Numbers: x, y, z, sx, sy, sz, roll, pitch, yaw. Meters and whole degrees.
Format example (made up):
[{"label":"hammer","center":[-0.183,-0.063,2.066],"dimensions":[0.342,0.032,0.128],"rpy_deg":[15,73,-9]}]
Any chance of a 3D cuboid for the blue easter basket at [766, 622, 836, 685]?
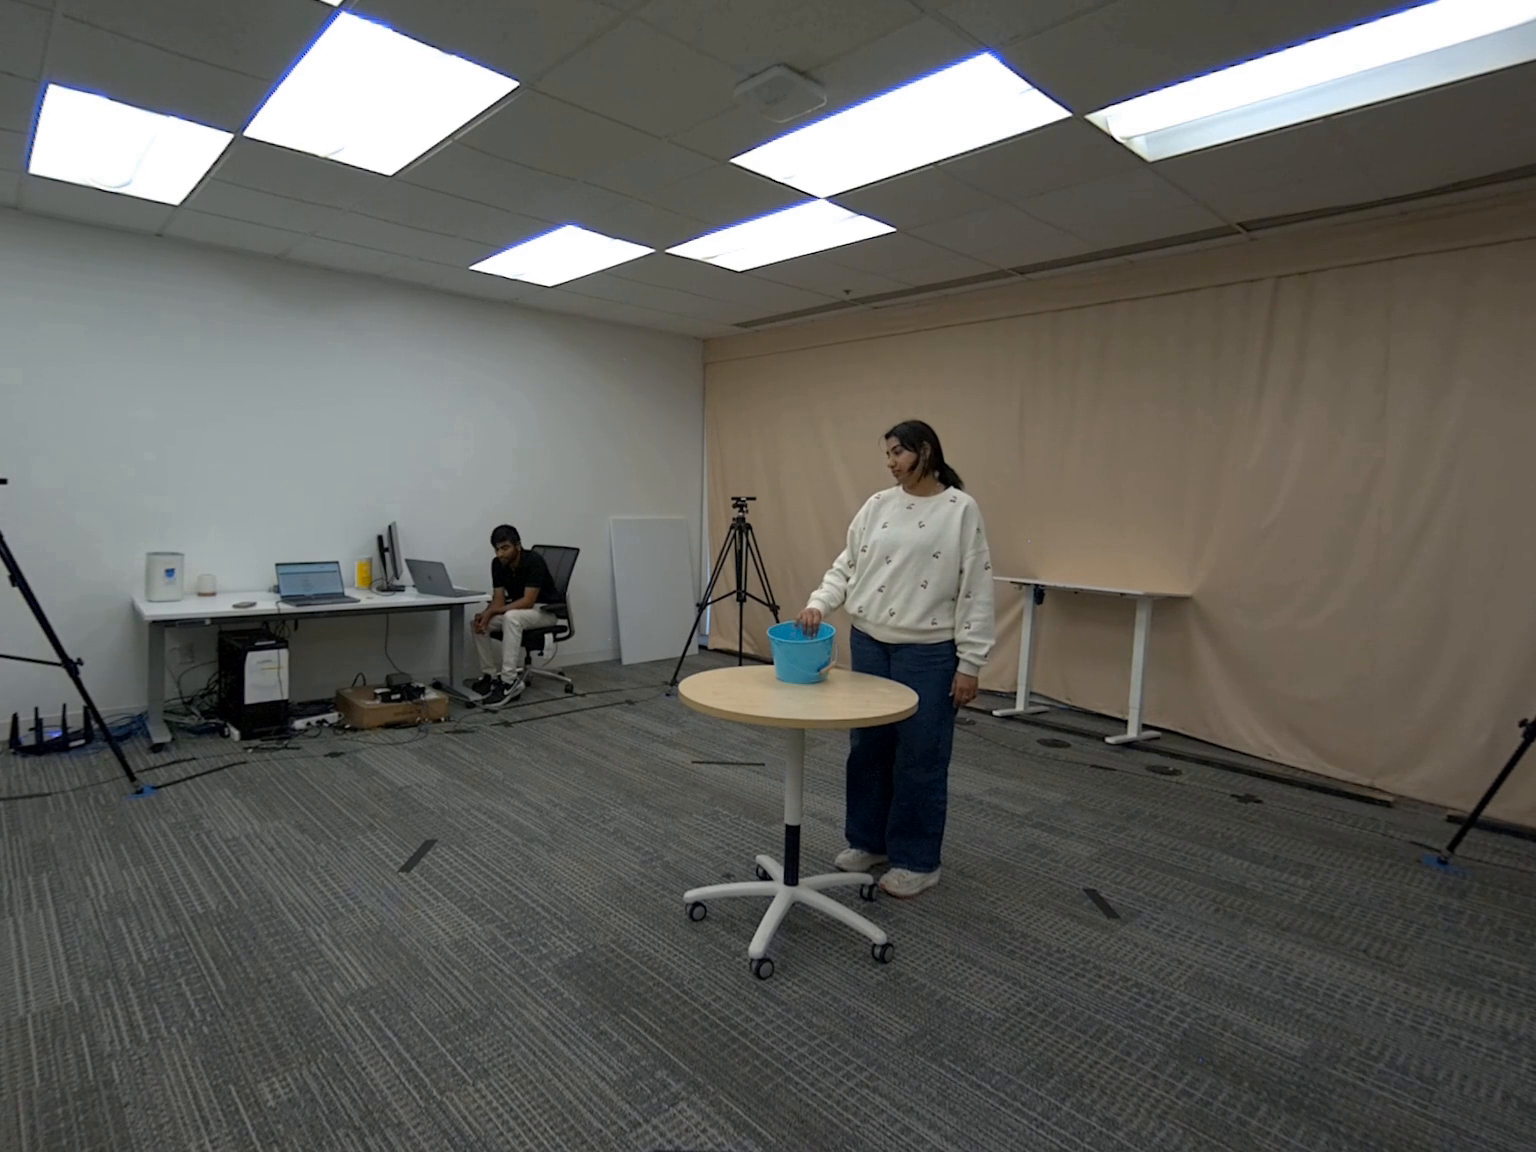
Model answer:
[{"label":"blue easter basket","center":[0.109,0.260,2.853],"dimensions":[0.243,0.154,0.246],"rpy_deg":[-3,11,-1]}]
